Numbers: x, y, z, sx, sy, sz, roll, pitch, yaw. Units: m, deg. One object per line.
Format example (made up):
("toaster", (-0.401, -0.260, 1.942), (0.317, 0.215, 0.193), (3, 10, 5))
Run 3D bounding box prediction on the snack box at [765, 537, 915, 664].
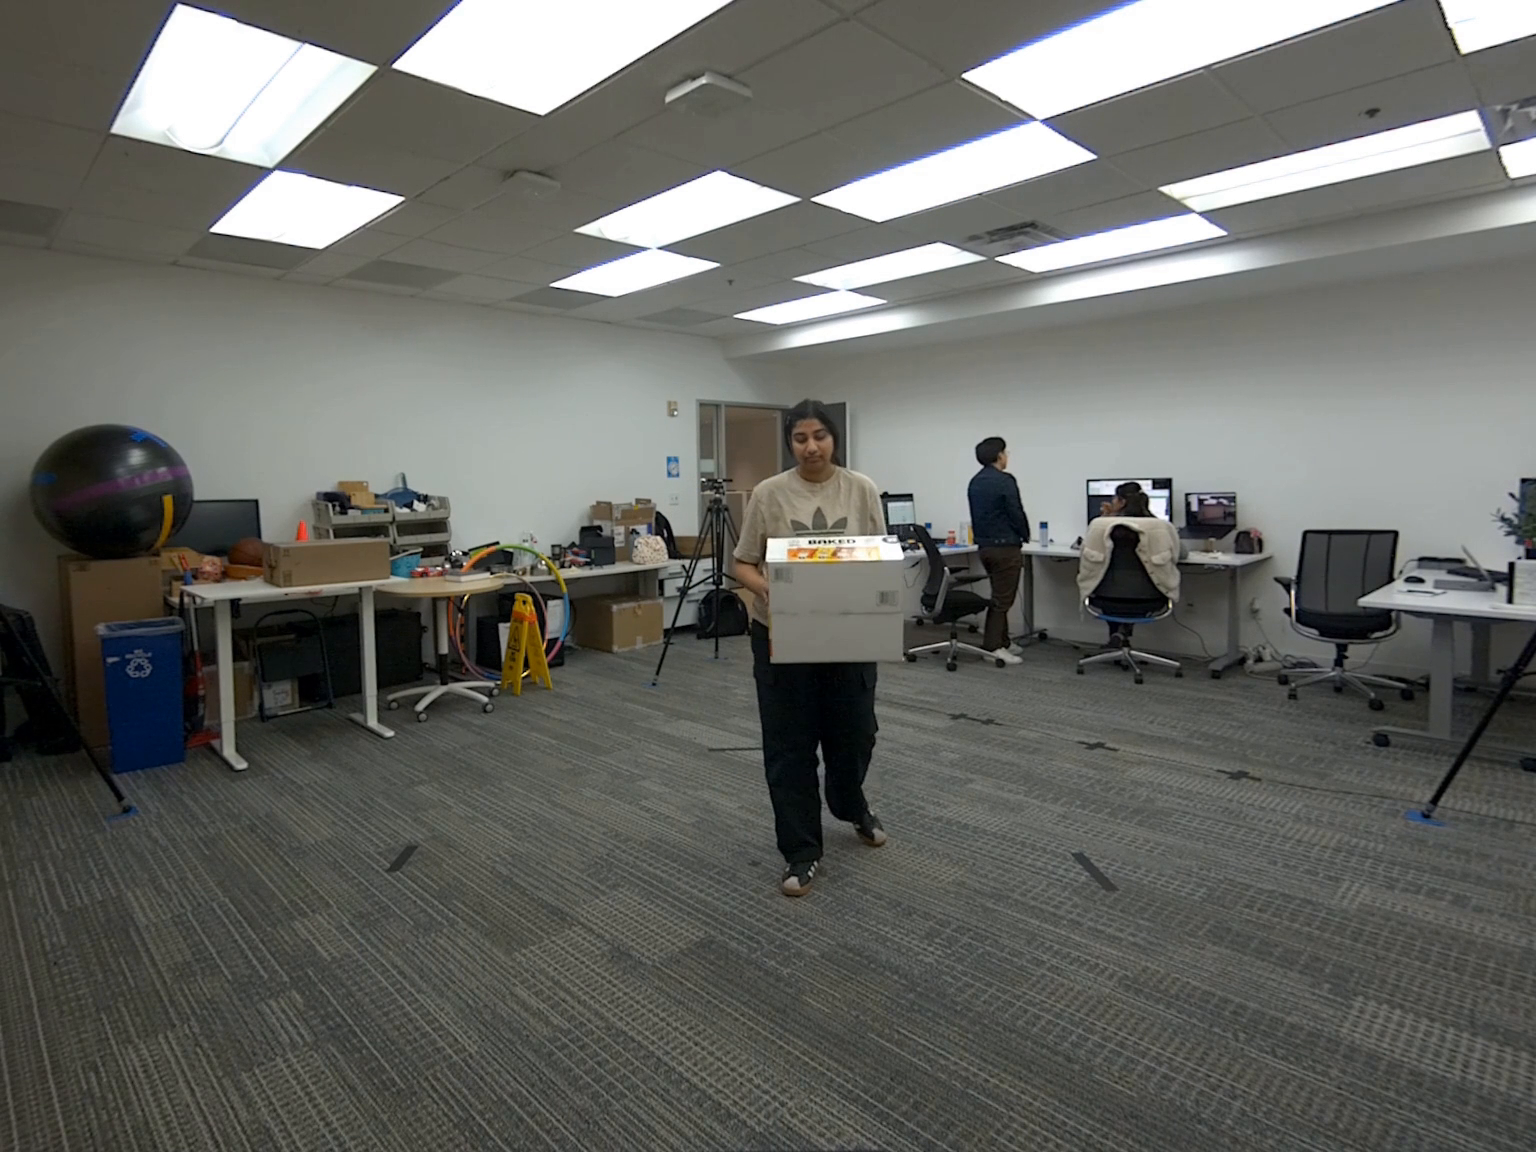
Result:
("snack box", (0.208, 0.075, 2.651), (0.407, 0.334, 0.208), (-2, 20, 5))
